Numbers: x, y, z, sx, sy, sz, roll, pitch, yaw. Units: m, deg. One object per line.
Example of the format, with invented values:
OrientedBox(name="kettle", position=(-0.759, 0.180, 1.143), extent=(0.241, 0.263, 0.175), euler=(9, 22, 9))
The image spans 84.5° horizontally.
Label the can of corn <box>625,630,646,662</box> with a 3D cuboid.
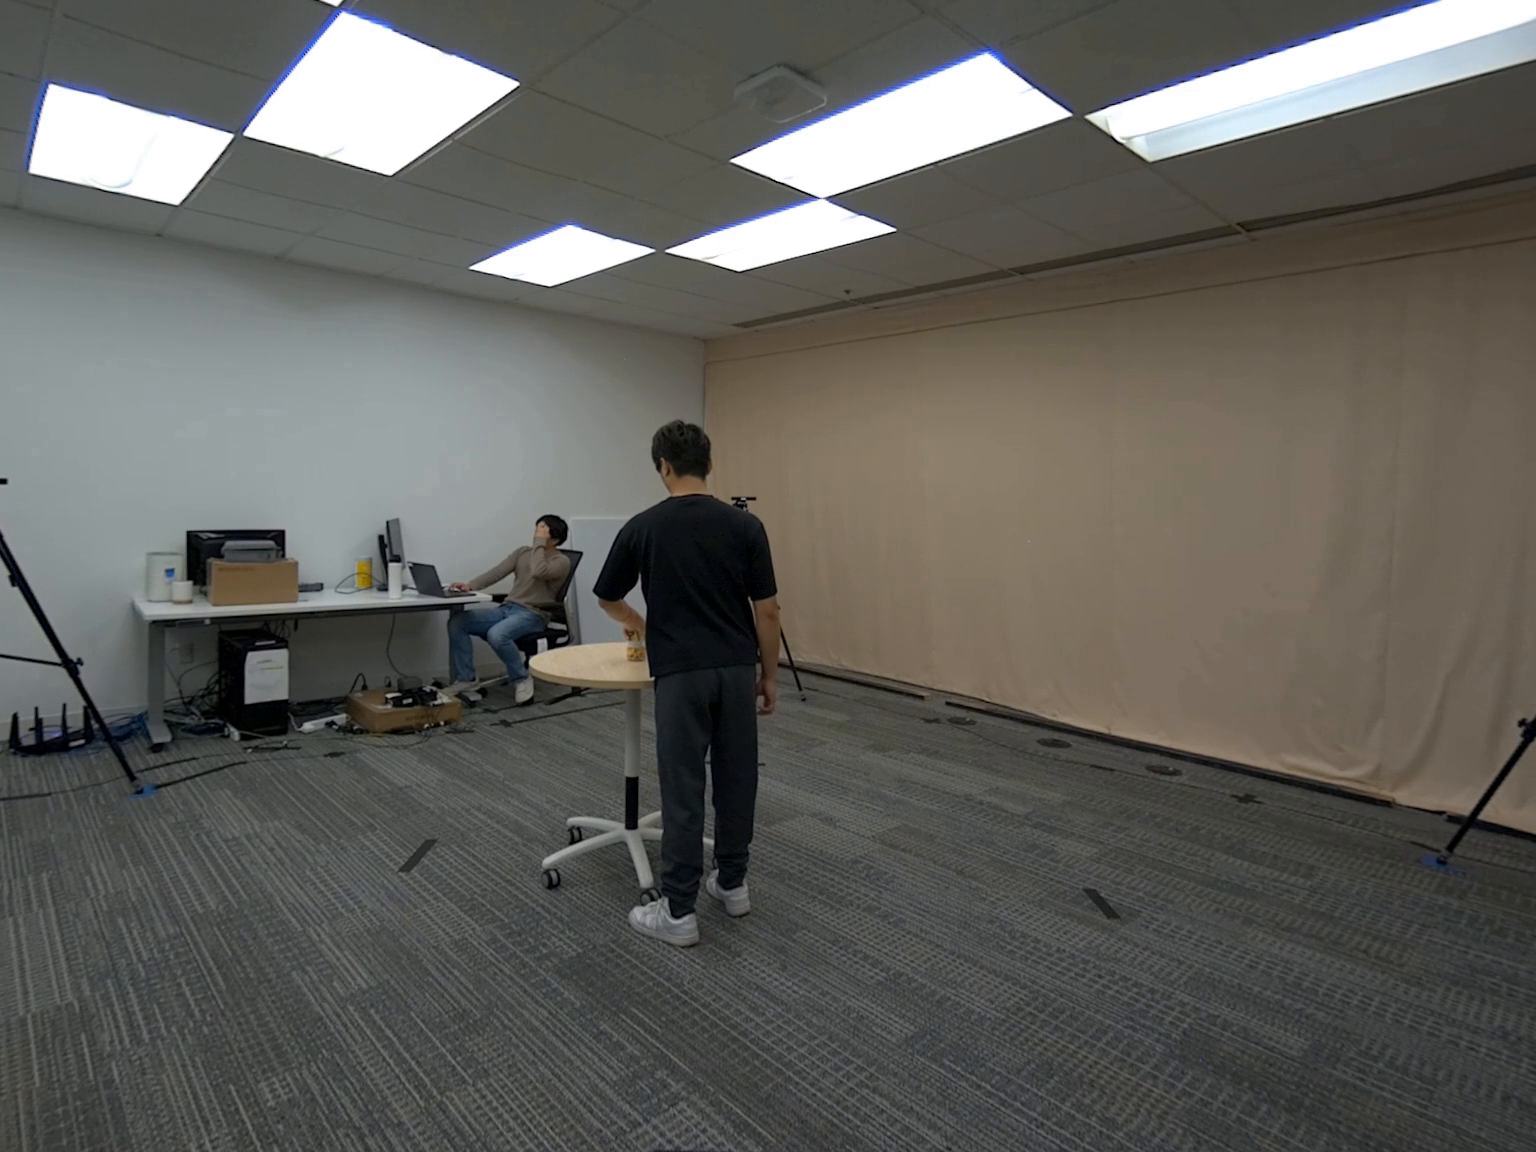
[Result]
OrientedBox(name="can of corn", position=(-0.503, 0.253, 3.150), extent=(0.074, 0.111, 0.074), euler=(1, 2, -1))
